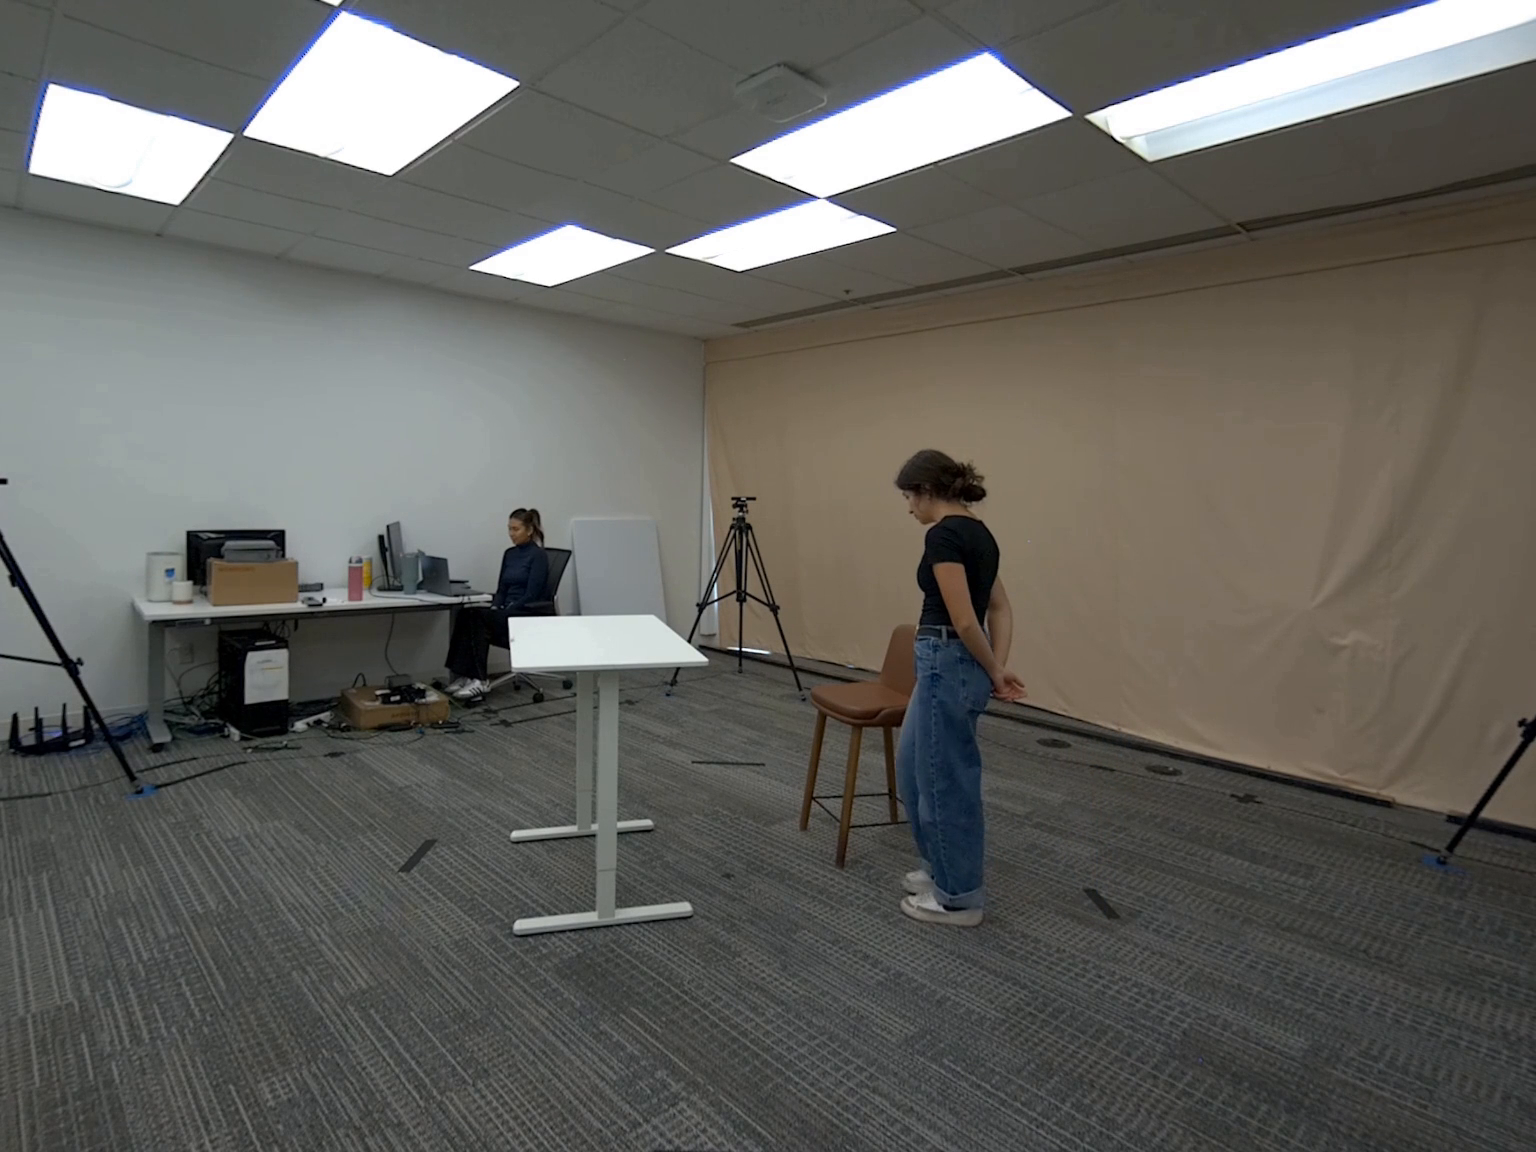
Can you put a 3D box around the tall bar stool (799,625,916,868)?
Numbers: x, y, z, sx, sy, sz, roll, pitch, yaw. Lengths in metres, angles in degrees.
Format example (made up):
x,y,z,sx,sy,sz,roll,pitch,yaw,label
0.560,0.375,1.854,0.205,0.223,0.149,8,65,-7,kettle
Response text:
x,y,z,sx,sy,sz,roll,pitch,yaw,label
0.415,0.657,3.427,0.461,0.888,0.464,2,2,-18,tall bar stool
